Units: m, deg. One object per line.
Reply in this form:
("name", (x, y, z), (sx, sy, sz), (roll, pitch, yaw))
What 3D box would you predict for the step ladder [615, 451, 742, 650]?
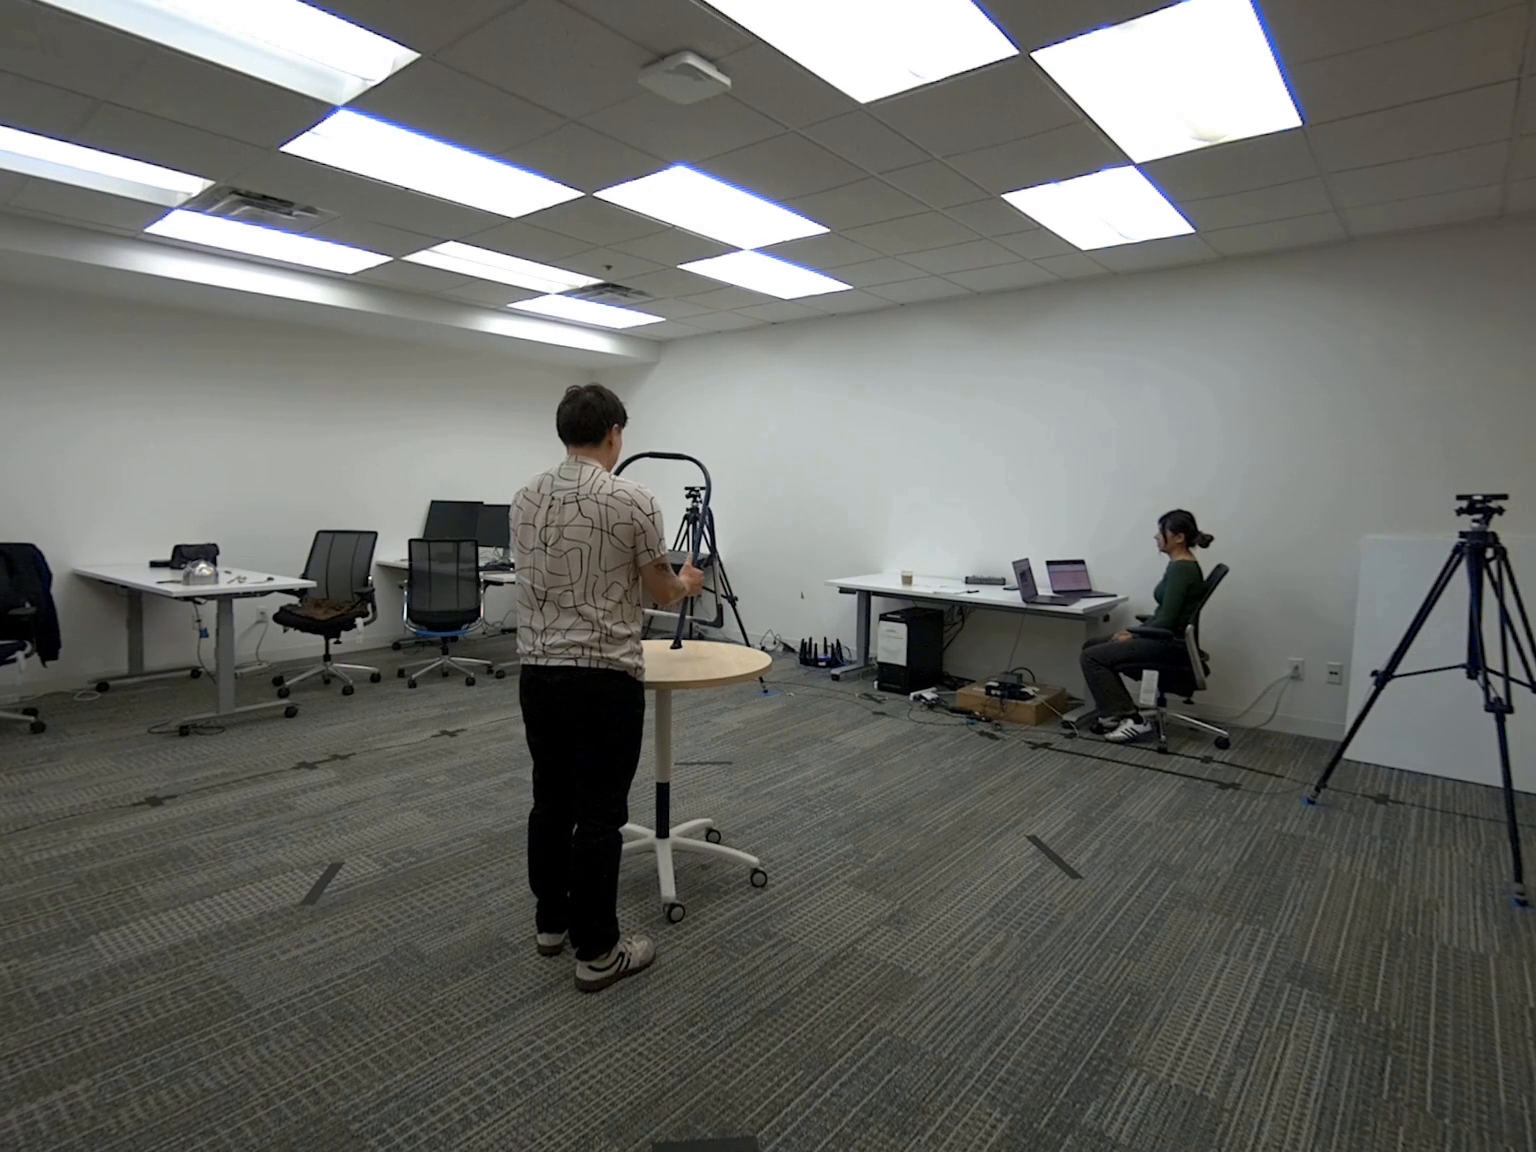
("step ladder", (-0.405, -0.121, 2.896), (0.442, 0.602, 0.342), (7, 8, 25))
